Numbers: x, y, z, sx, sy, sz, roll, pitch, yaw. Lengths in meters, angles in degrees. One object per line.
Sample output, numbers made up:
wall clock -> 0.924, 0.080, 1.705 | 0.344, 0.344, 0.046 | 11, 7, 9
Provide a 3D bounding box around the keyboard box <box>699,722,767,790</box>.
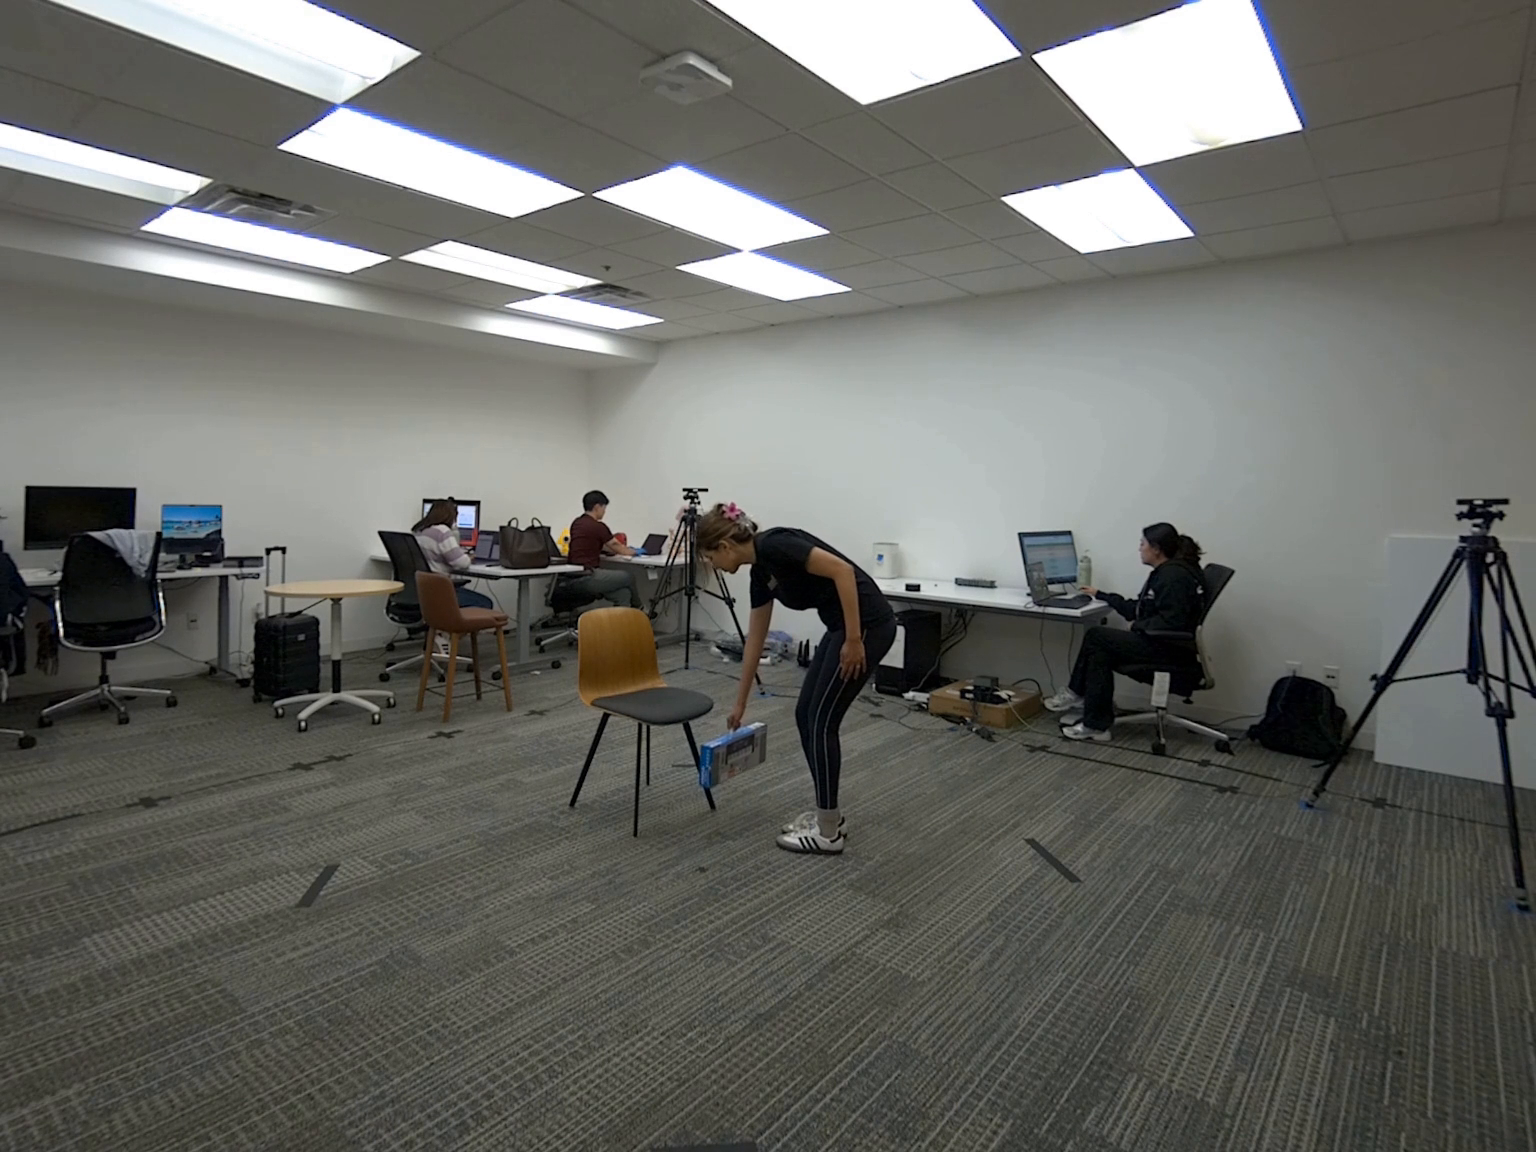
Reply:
keyboard box -> -0.152, 0.757, 3.637 | 0.061, 0.175, 0.425 | 6, 8, 32
